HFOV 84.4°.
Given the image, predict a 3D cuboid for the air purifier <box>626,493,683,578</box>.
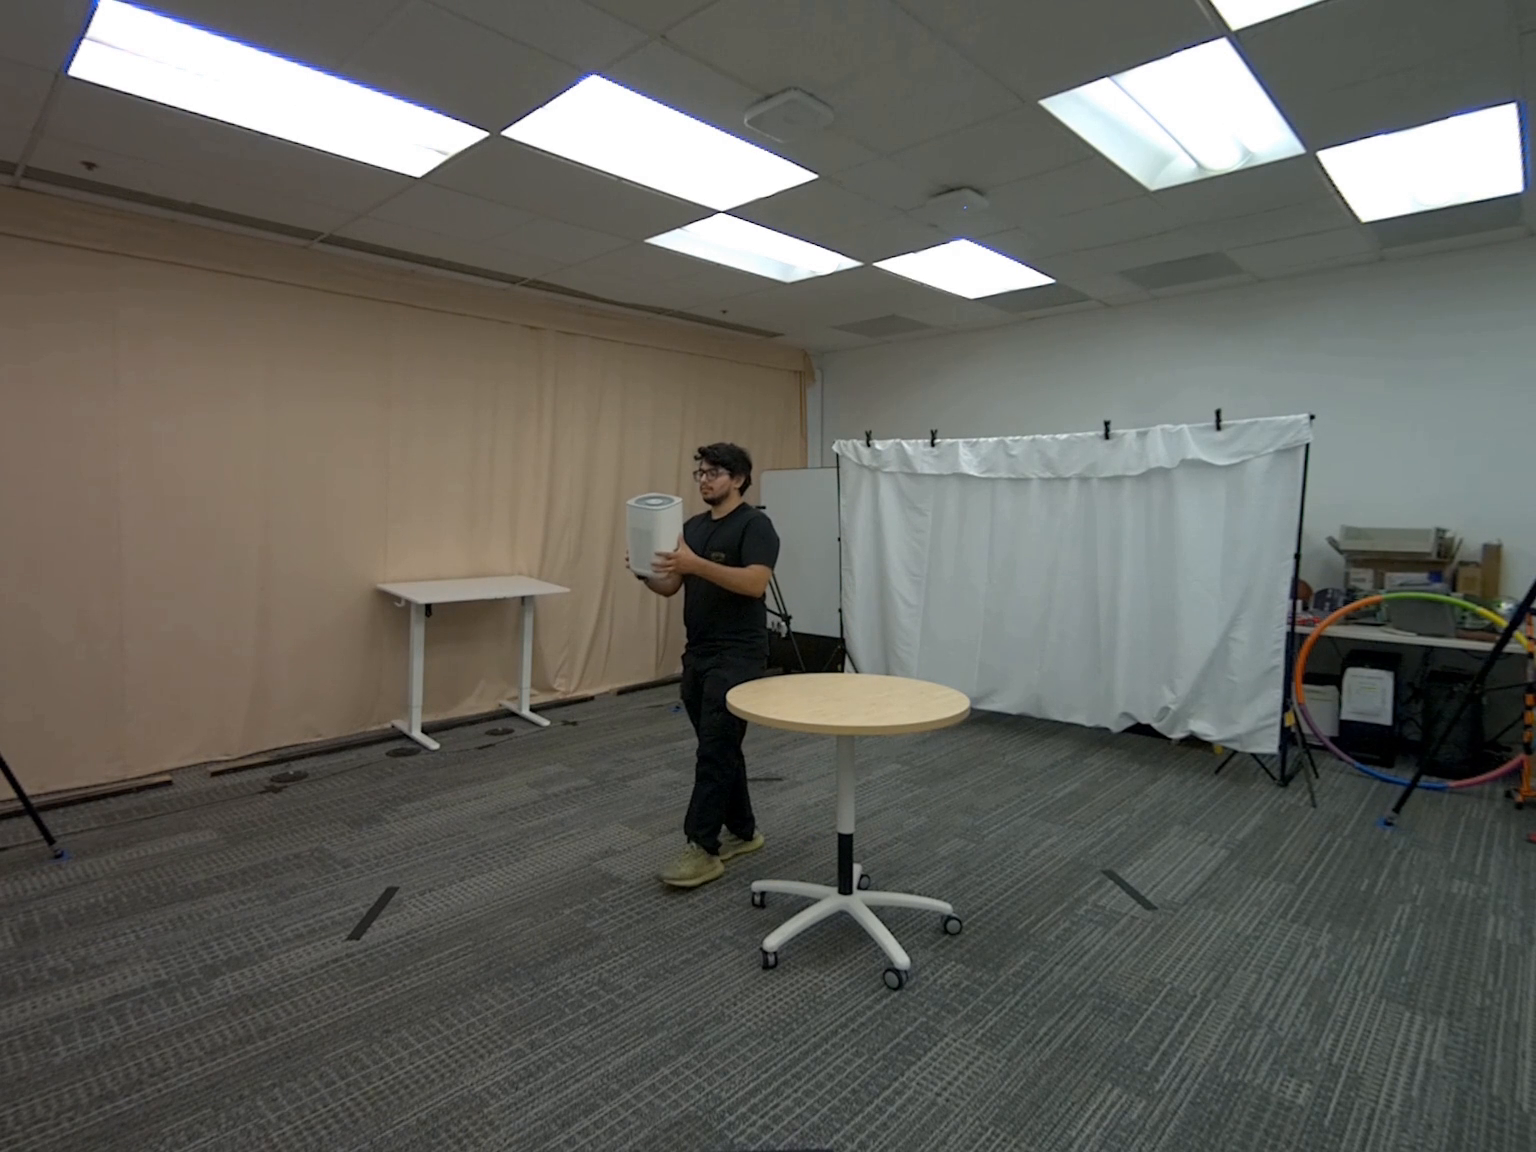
[{"bbox_3d":[-0.403,-0.141,2.995,0.176,0.262,0.168,13,23,26],"label":"air purifier"}]
